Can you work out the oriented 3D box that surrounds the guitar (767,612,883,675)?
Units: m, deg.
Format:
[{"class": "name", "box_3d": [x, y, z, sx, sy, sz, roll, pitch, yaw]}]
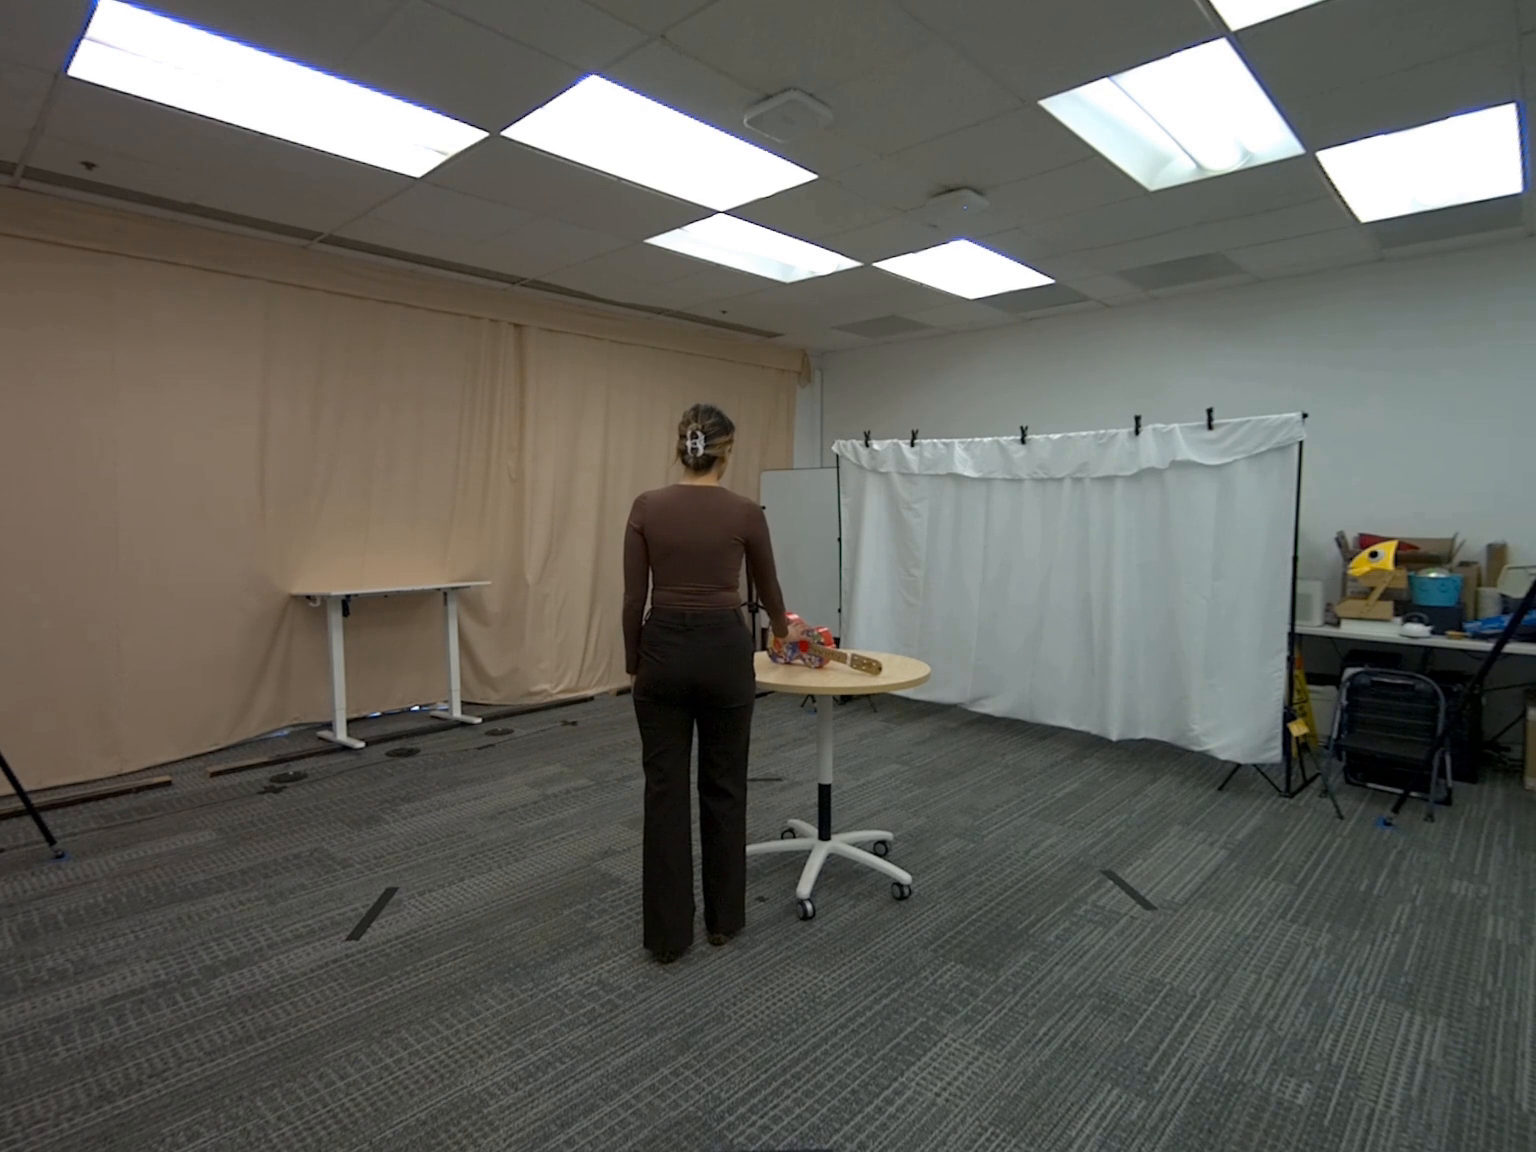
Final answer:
[{"class": "guitar", "box_3d": [0.204, 0.298, 3.072, 0.516, 0.192, 0.068, 24, 17, 36]}]
